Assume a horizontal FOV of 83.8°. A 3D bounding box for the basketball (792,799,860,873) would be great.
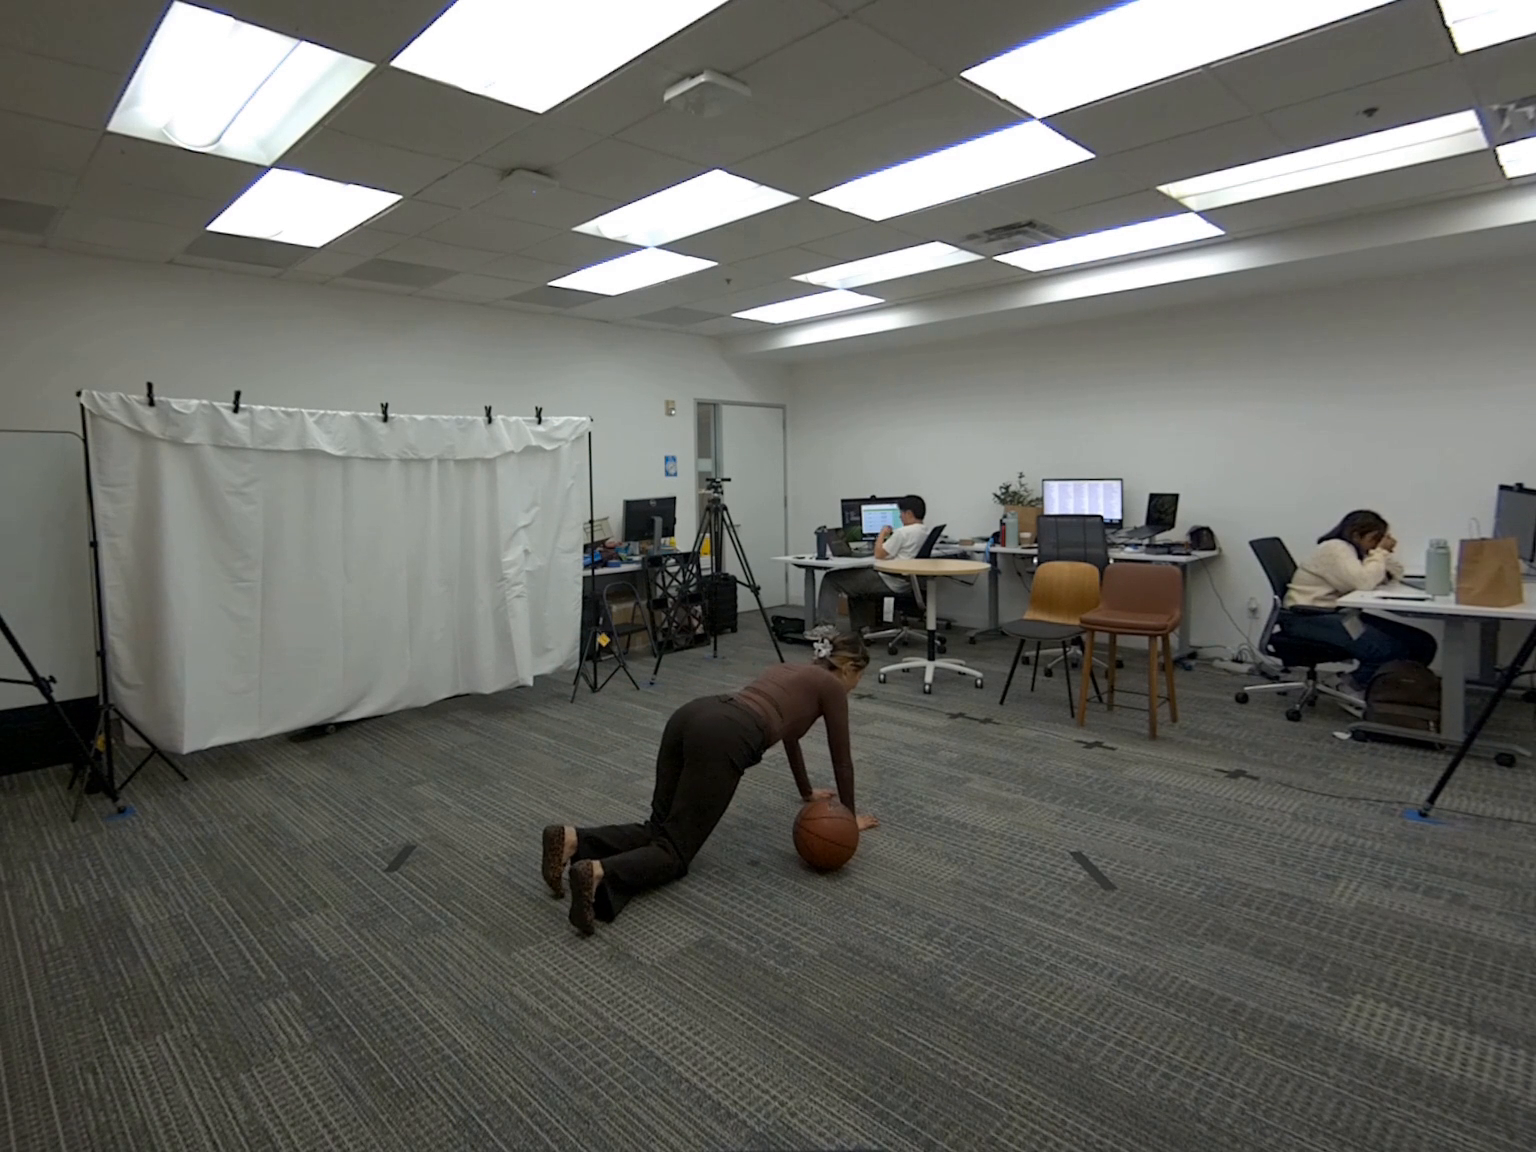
[{"bbox_3d":[0.203,0.913,3.066,0.236,0.235,0.237,-1,5,-2],"label":"basketball"}]
